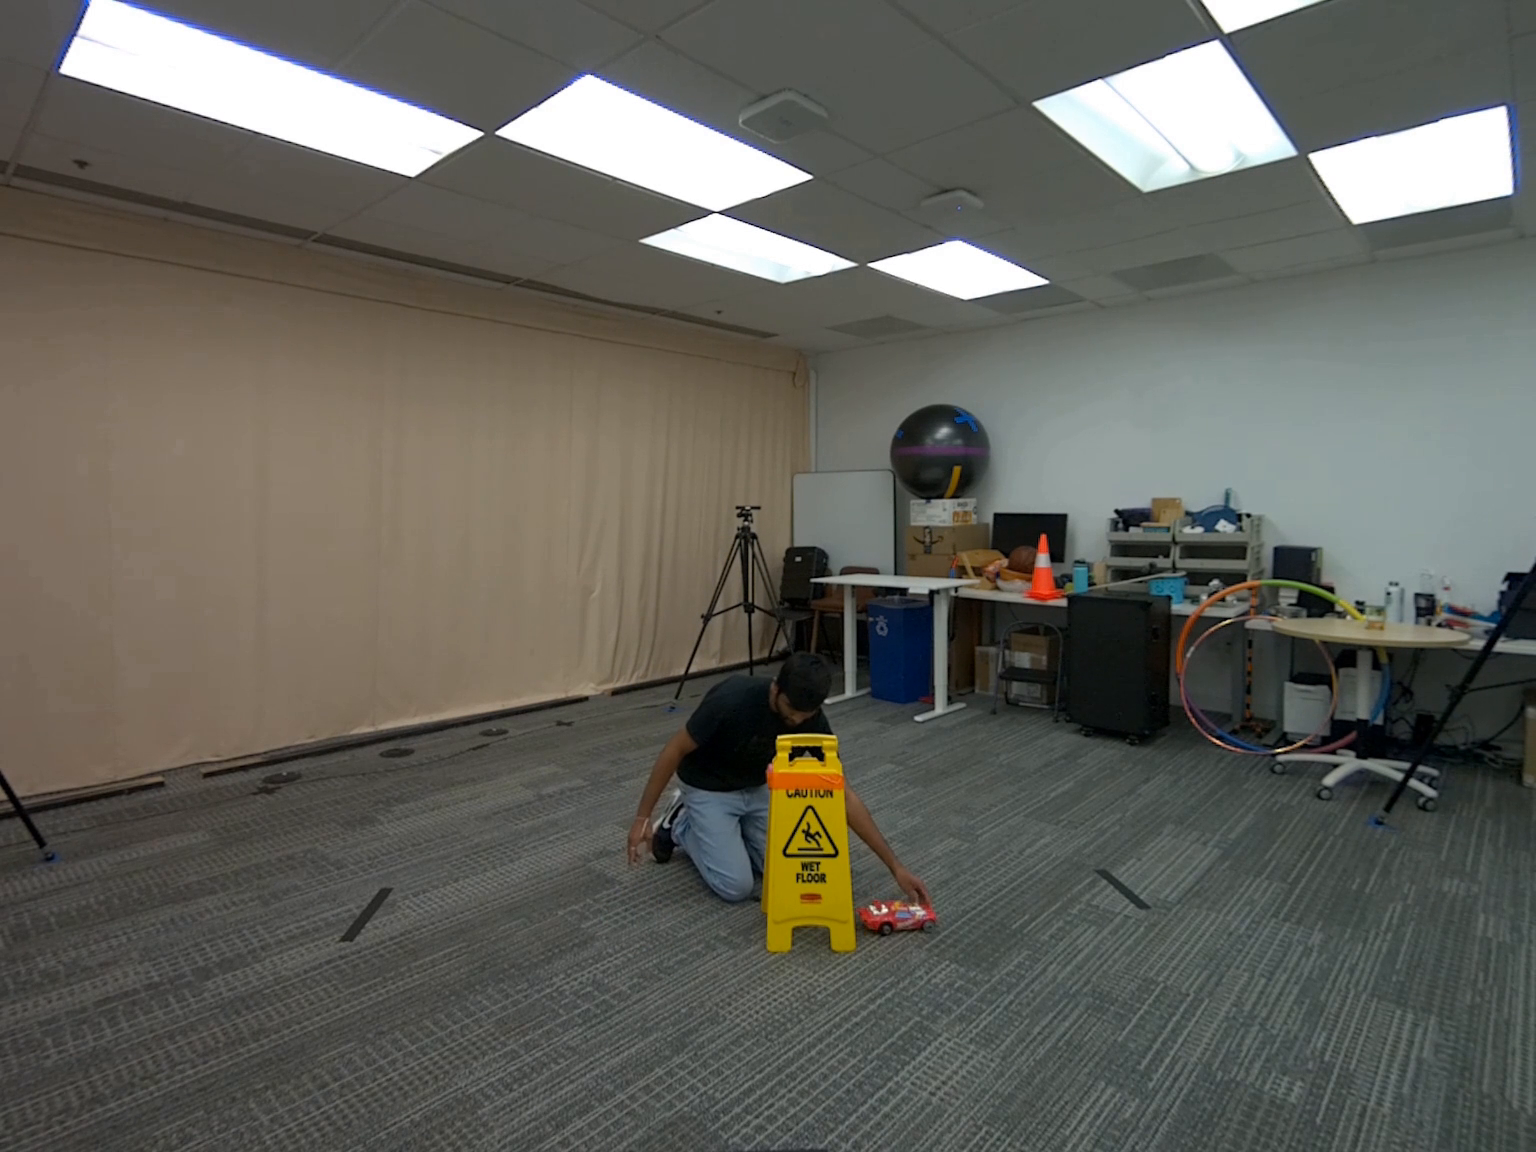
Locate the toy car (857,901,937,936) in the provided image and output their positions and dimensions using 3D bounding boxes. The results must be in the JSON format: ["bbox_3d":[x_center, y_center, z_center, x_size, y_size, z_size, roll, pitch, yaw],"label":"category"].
[{"bbox_3d":[0.400,1.130,2.771,0.252,0.083,0.131,11,3,-7],"label":"toy car"}]
